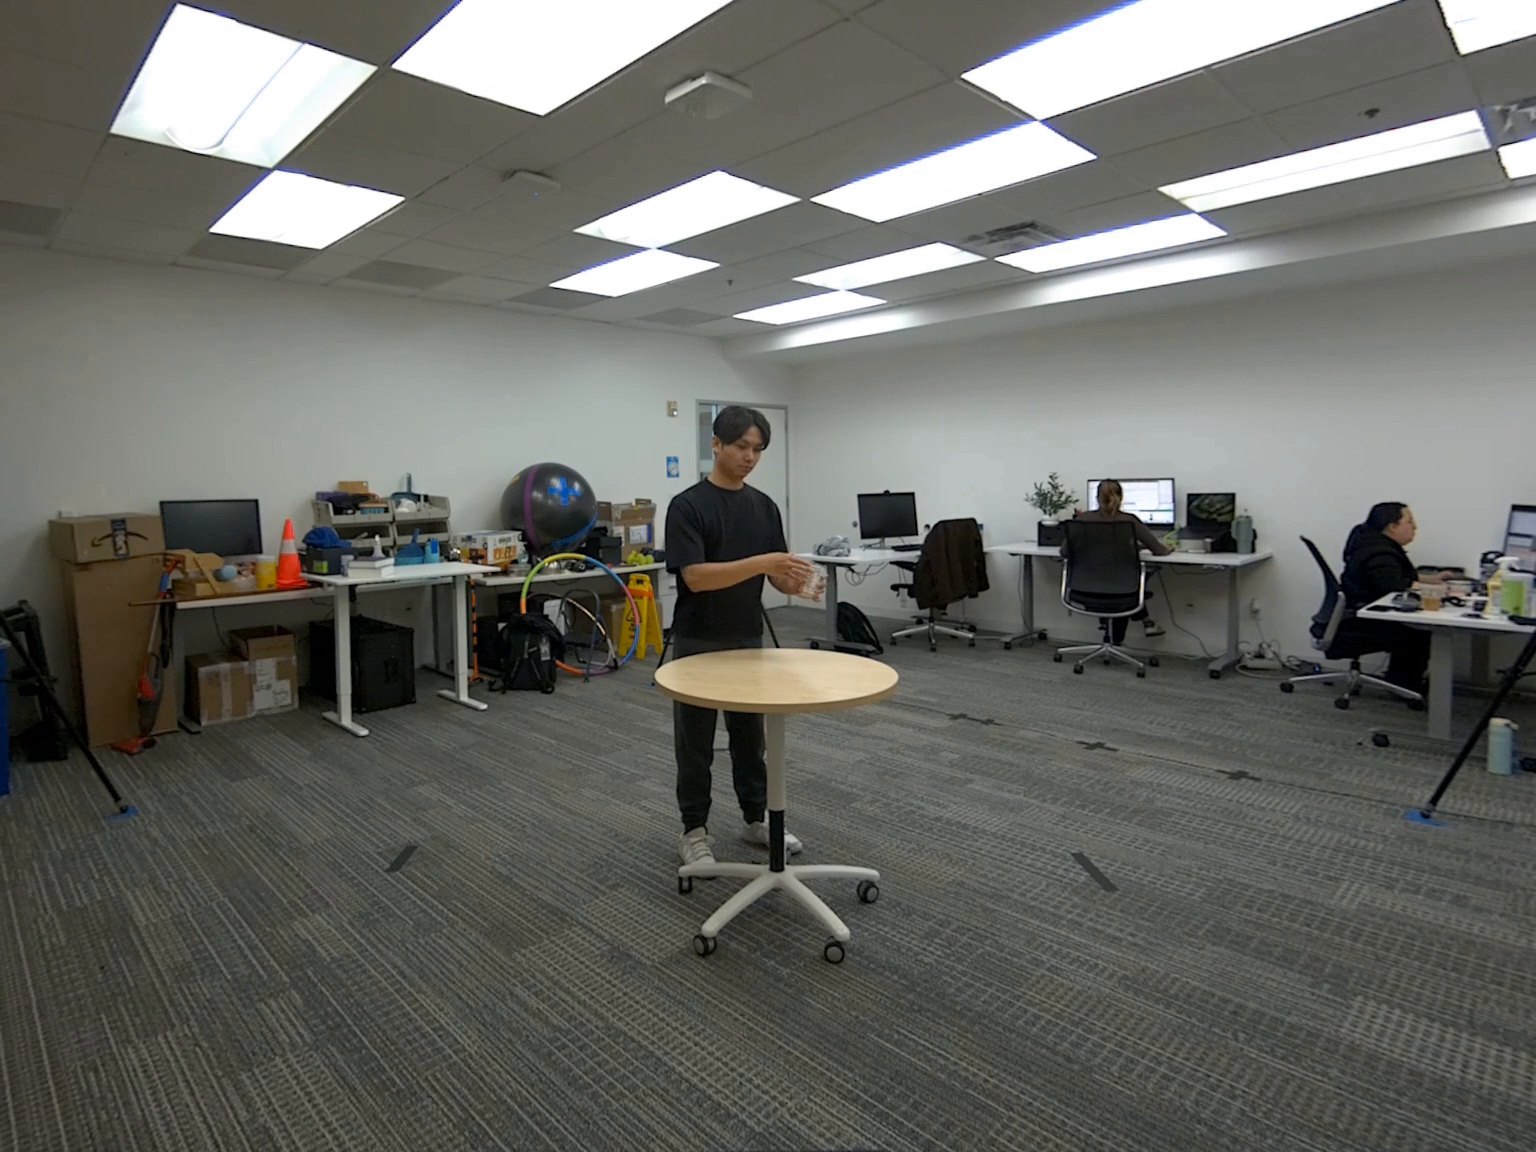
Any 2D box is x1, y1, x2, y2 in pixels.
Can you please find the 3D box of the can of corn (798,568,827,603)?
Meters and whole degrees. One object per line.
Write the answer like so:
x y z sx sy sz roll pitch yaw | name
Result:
0.119 0.014 2.898 0.074 0.111 0.074 14 -2 -1 | can of corn
